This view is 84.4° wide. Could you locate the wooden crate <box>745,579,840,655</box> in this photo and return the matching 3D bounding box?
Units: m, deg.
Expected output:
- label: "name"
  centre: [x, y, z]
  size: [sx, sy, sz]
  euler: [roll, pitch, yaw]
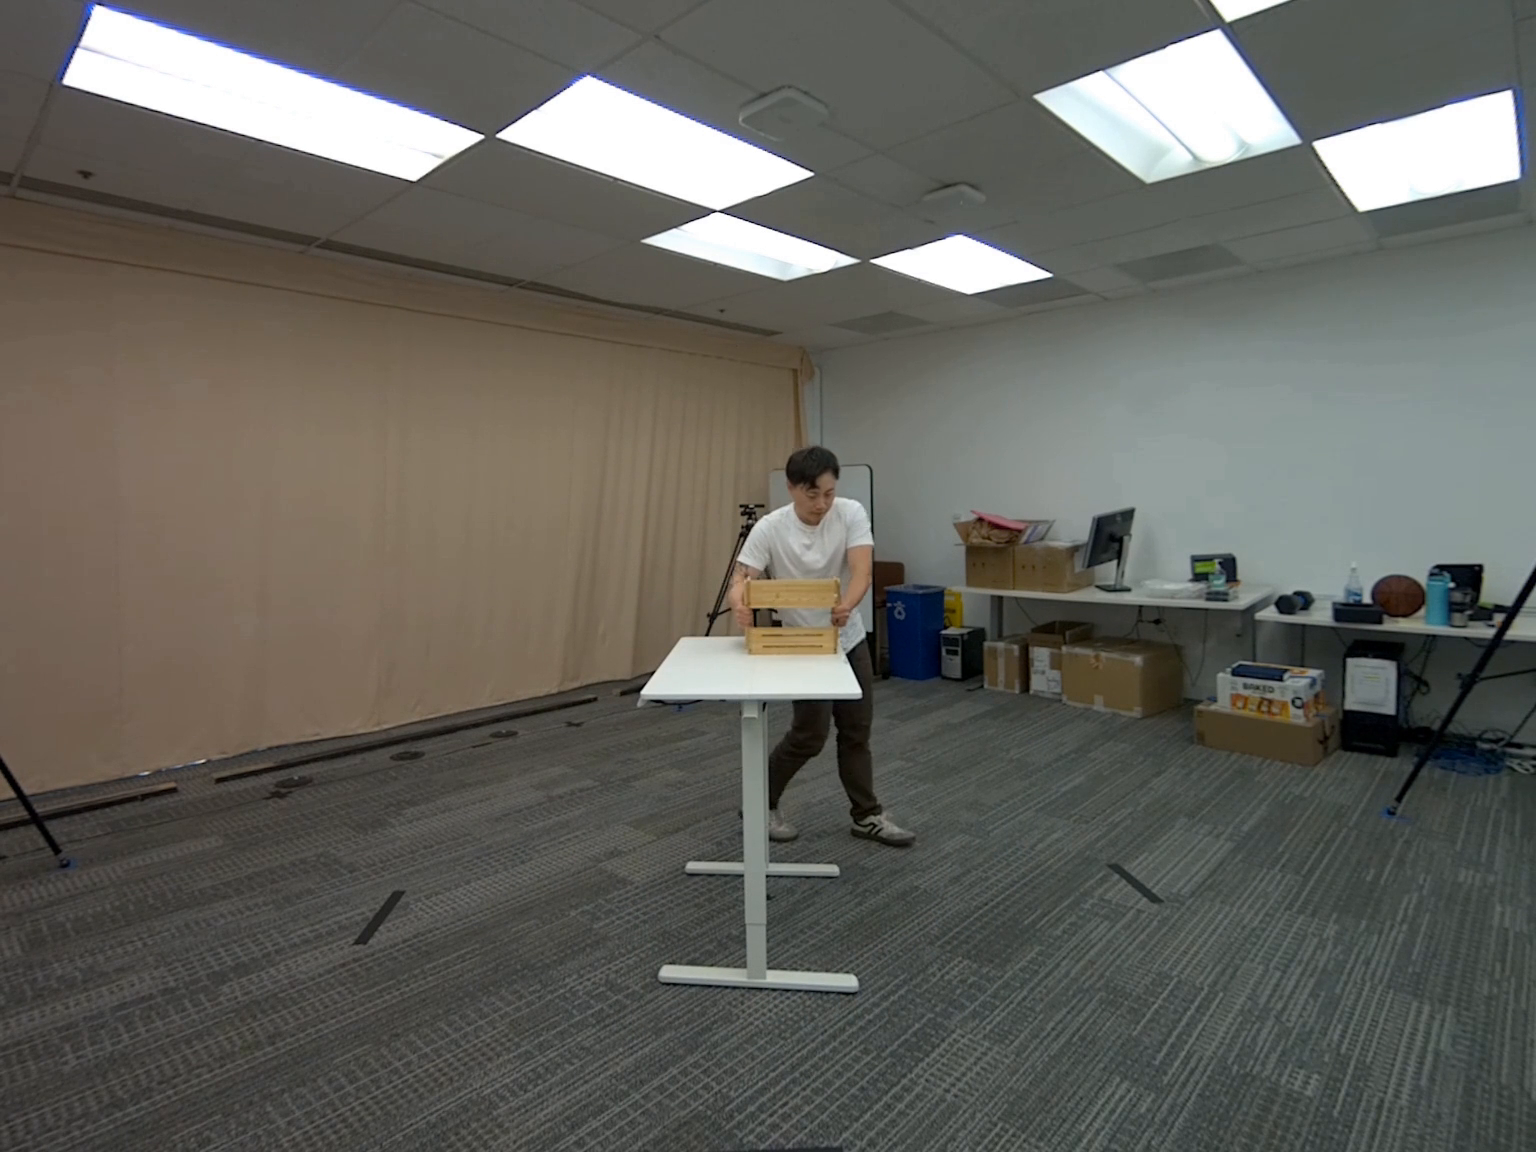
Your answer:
- label: "wooden crate"
  centre: [0.085, 0.128, 2.953]
  size: [0.325, 0.272, 0.303]
  euler: [0, 7, 1]
